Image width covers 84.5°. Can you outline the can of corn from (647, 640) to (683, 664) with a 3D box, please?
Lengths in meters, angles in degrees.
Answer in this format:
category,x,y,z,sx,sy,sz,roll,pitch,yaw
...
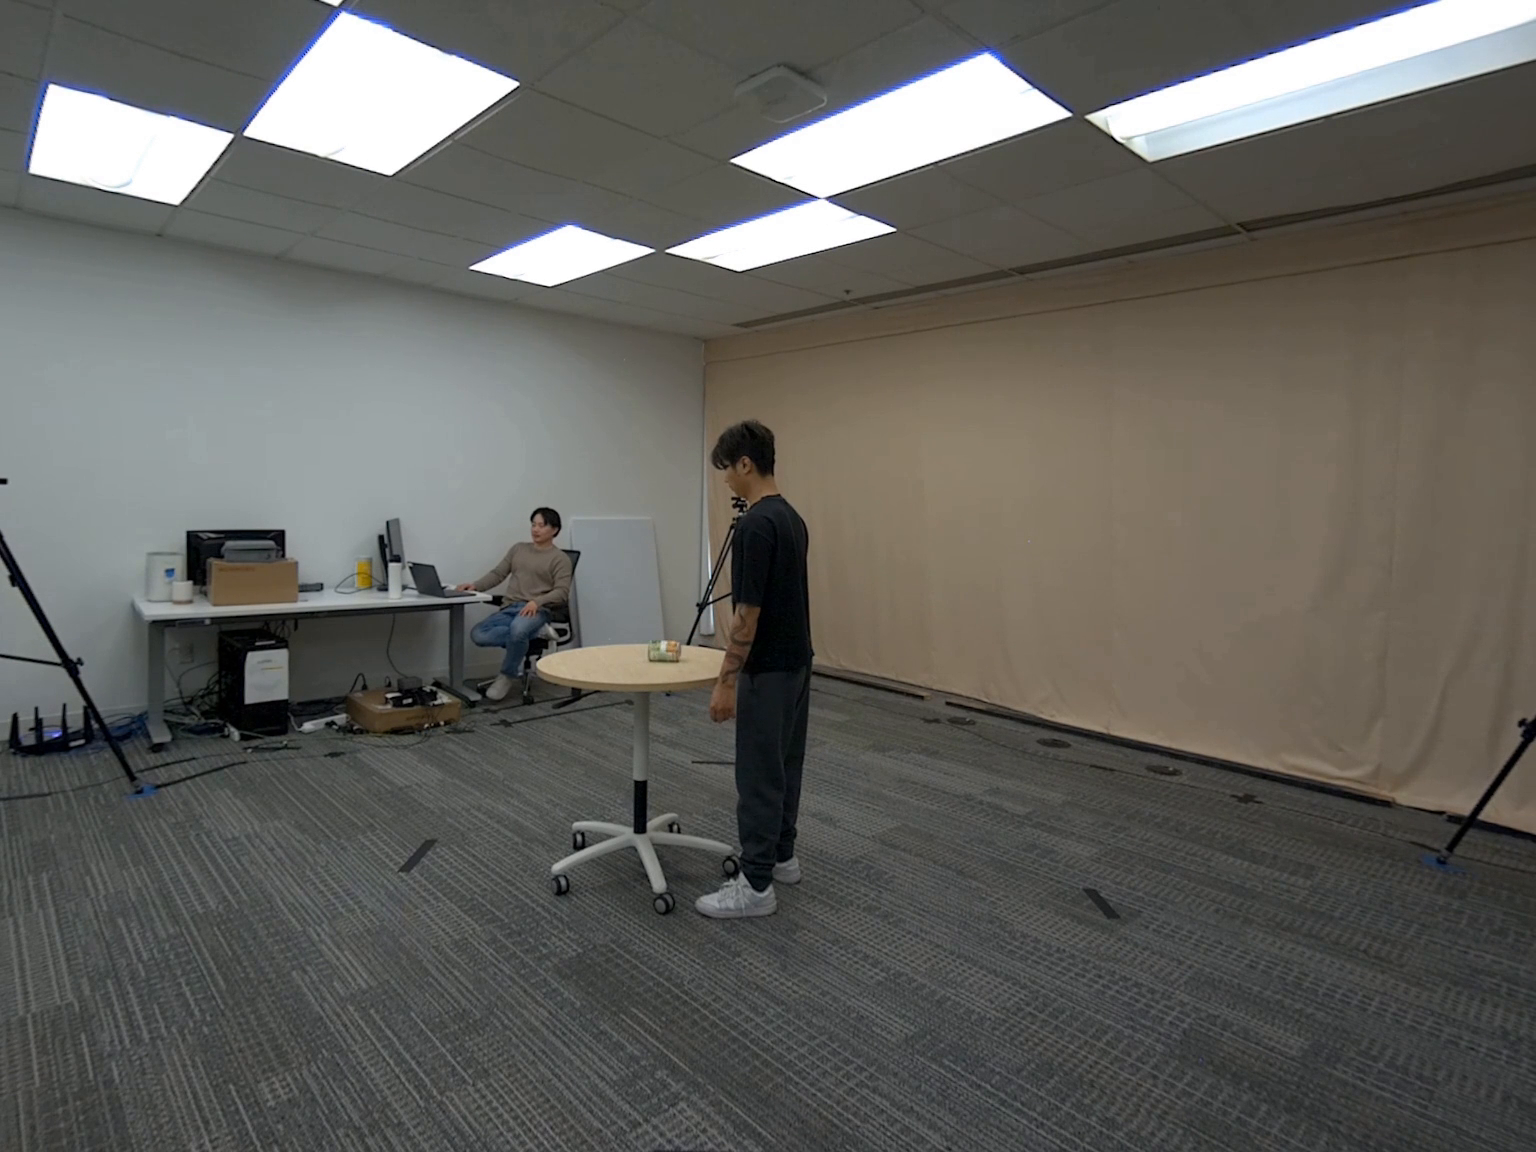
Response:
category,x,y,z,sx,sy,sz,roll,pitch,yaw
can of corn,-0.389,0.275,3.131,0.111,0.074,0.074,4,4,2
